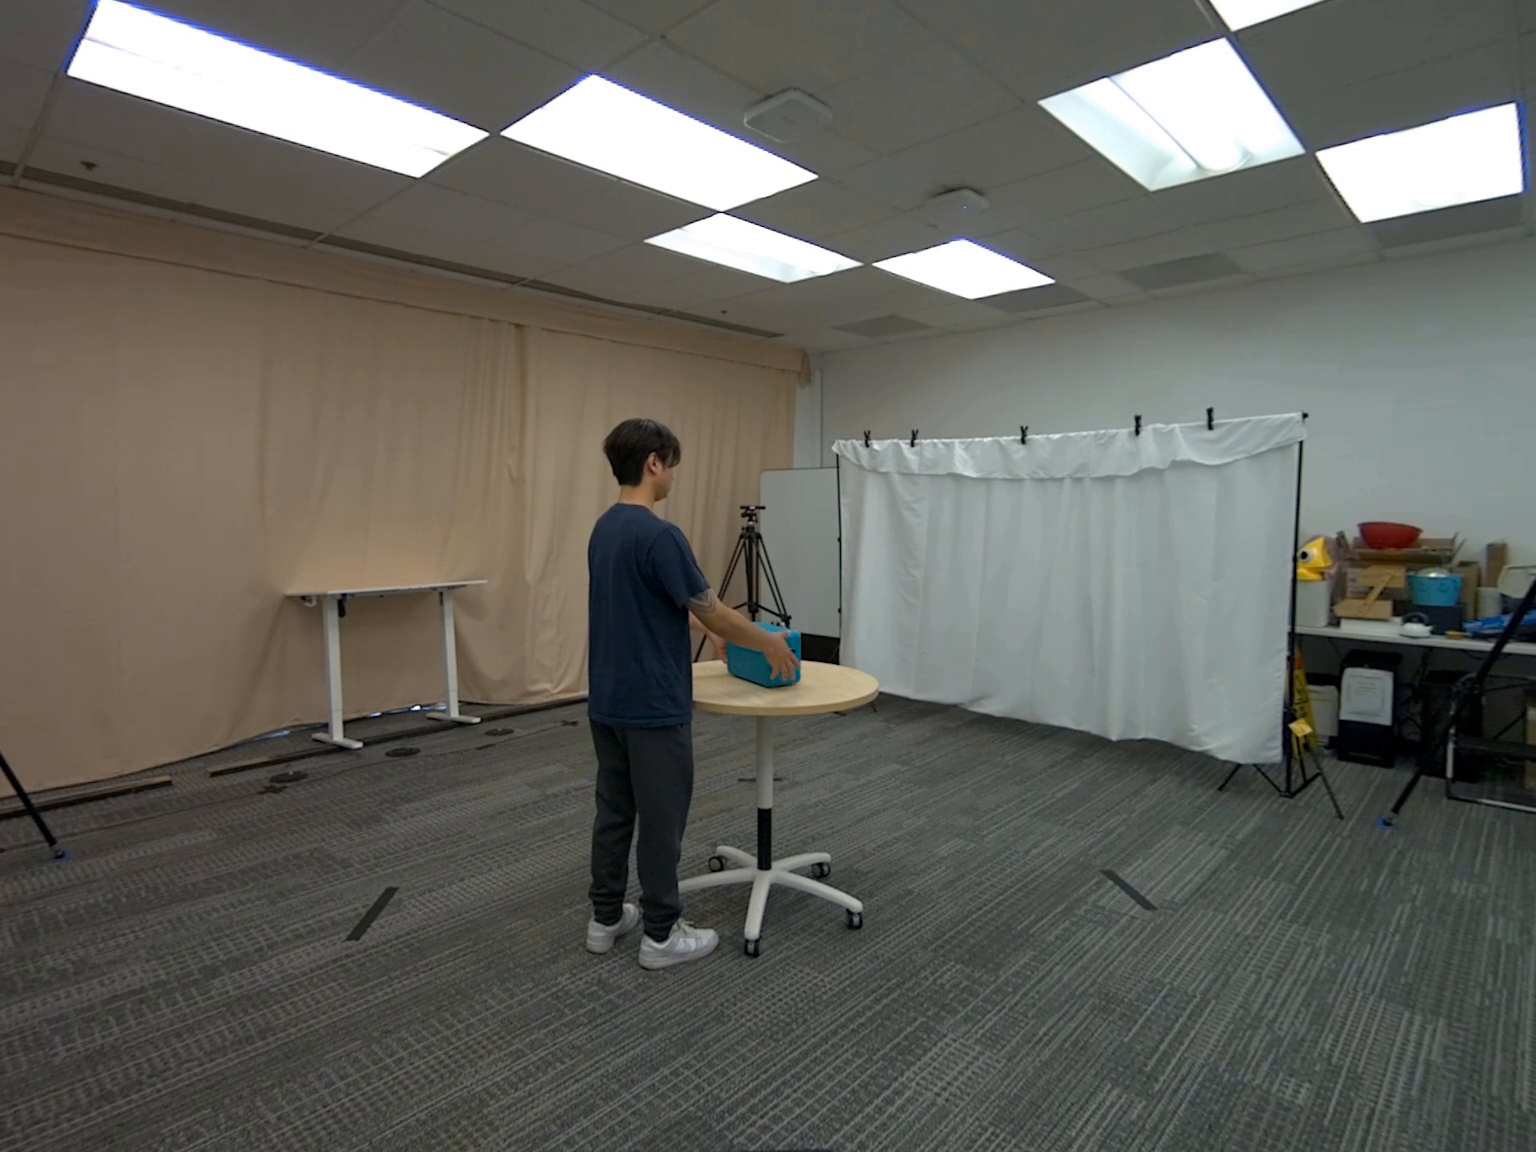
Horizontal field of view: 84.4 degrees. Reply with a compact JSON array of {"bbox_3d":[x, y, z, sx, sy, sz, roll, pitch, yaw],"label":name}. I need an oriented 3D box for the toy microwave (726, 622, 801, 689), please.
[{"bbox_3d":[-0.008,0.261,2.871,0.148,0.184,0.294,-2,4,-28],"label":"toy microwave"}]
